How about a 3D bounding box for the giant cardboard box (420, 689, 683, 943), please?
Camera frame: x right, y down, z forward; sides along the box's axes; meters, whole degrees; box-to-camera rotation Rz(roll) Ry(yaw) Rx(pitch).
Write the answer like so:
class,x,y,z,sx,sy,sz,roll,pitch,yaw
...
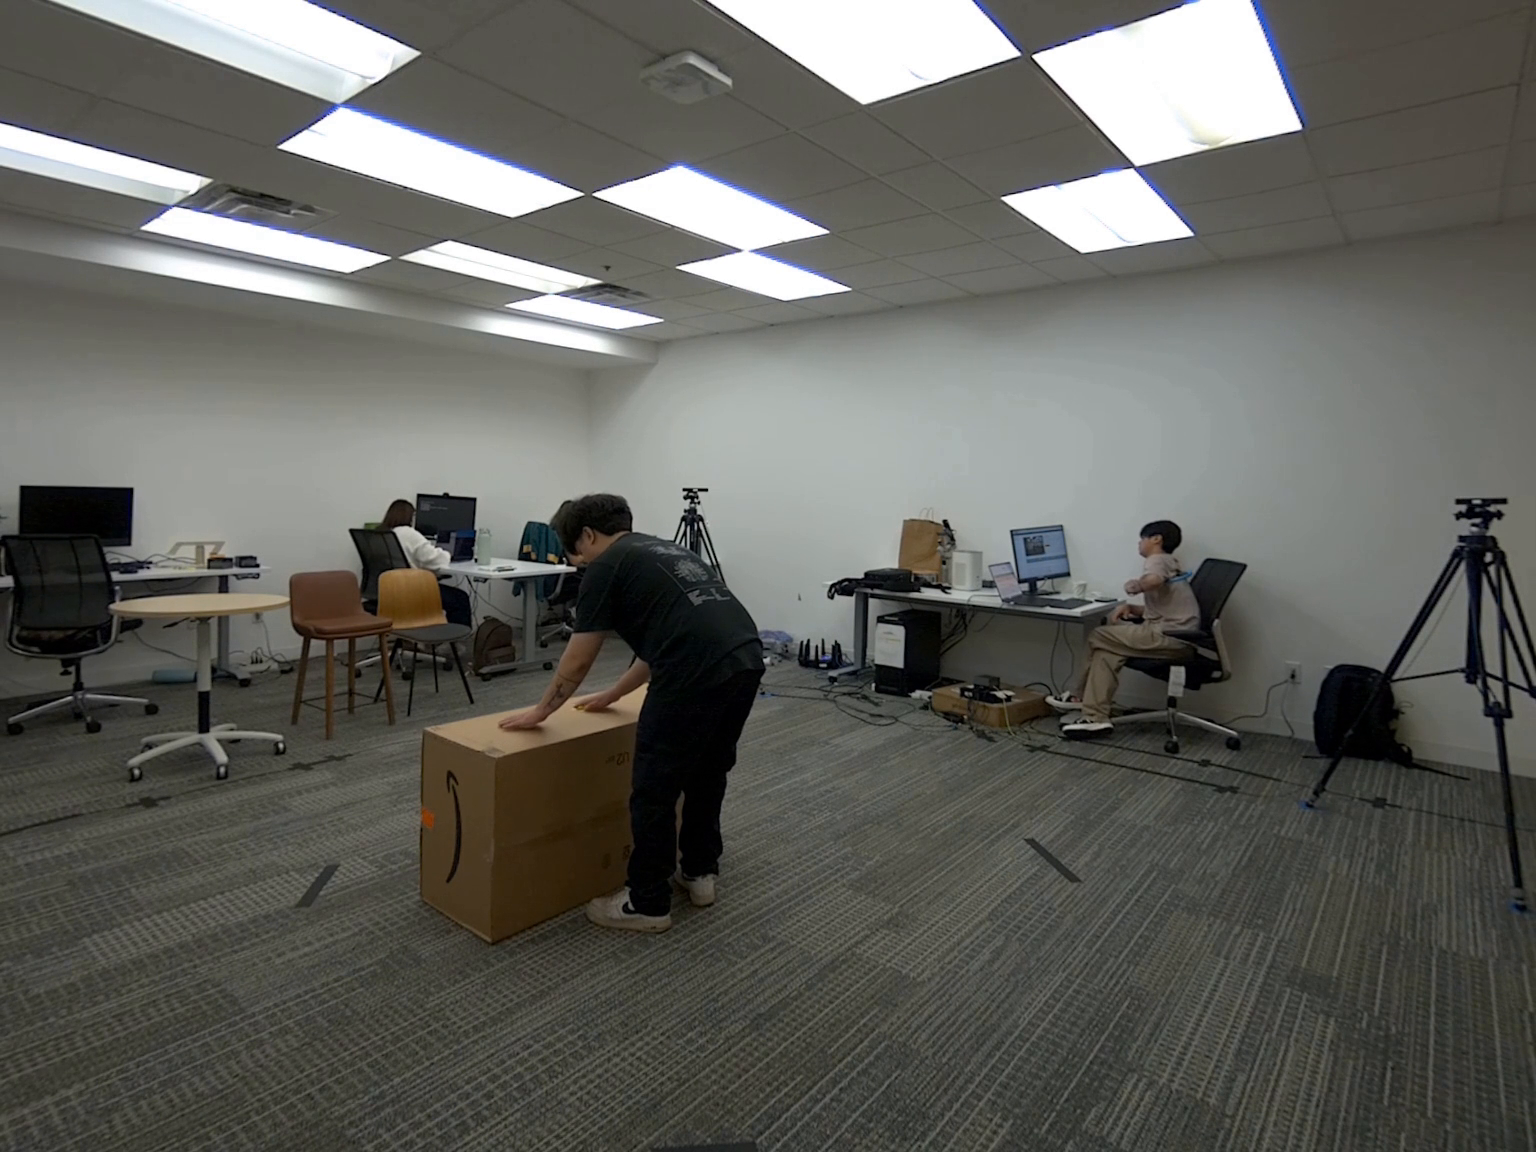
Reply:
class,x,y,z,sx,sy,sz,roll,pitch,yaw
giant cardboard box,-0.689,0.782,3.072,0.461,0.582,0.996,3,4,39
